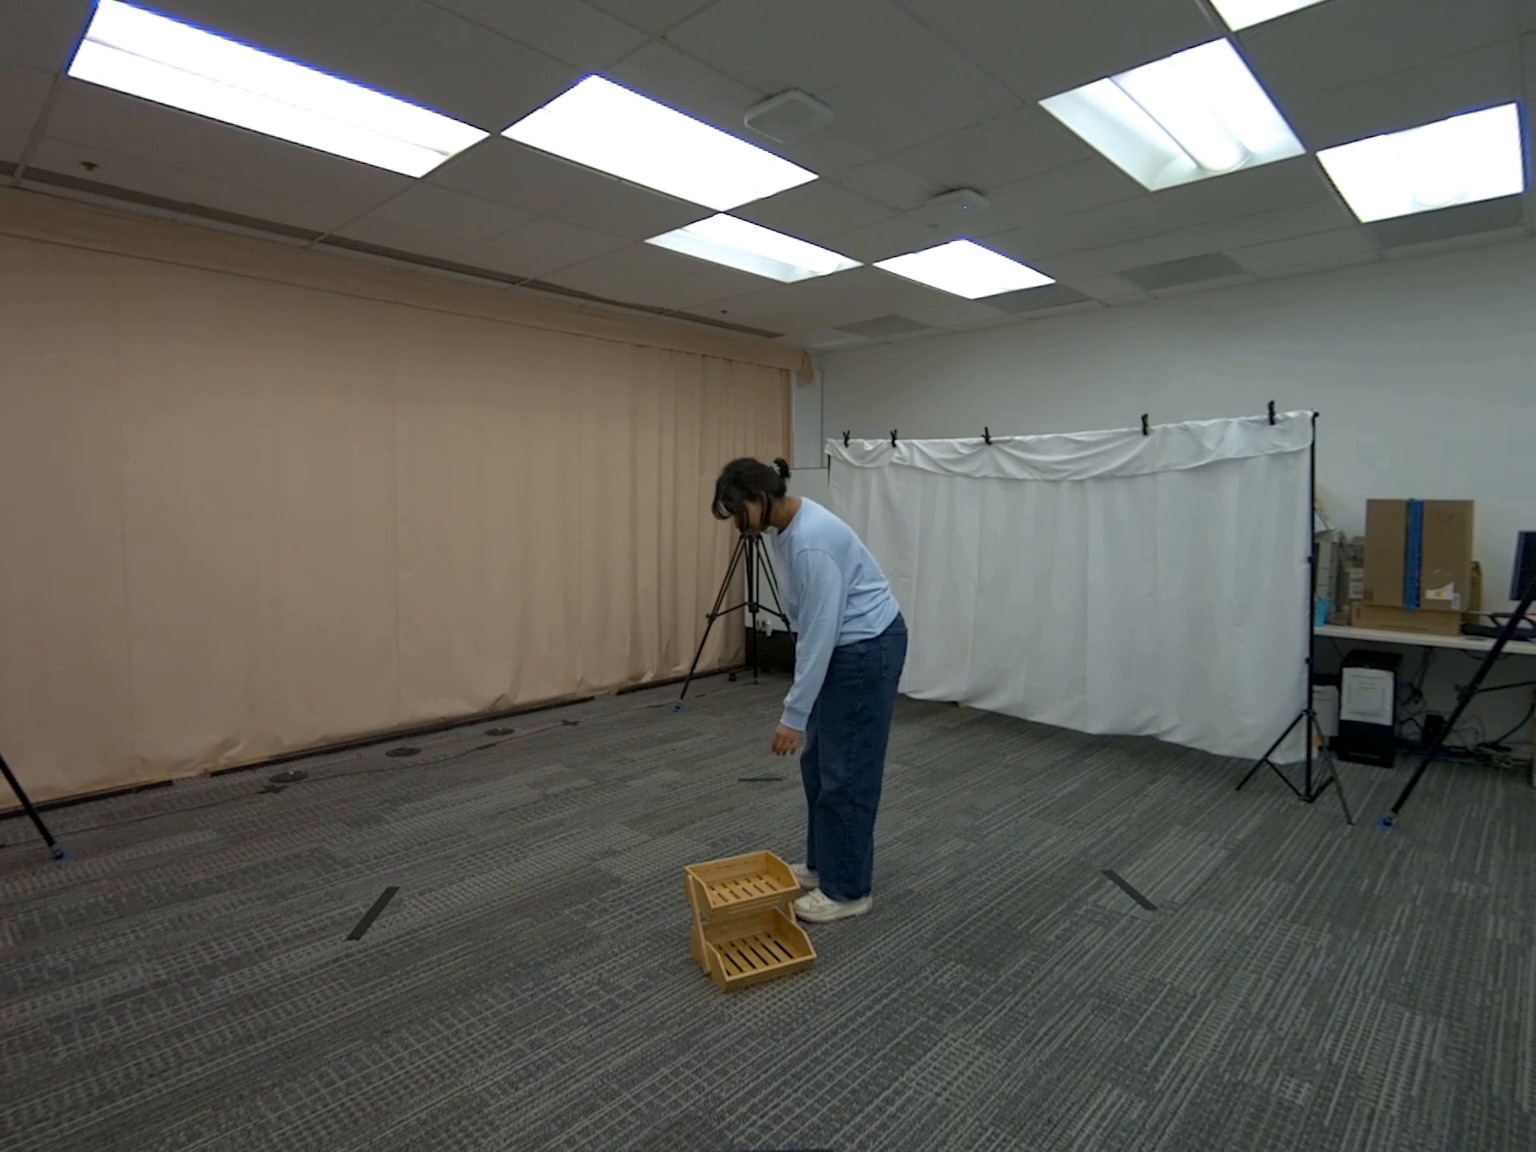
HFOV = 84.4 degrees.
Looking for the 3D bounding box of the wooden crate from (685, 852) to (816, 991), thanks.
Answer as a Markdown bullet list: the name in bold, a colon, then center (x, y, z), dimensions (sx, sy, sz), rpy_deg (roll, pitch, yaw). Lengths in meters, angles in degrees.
- **wooden crate**: center (-0.053, 1.045, 2.573), dimensions (0.316, 0.273, 0.310), rpy_deg (-2, 3, -28)
